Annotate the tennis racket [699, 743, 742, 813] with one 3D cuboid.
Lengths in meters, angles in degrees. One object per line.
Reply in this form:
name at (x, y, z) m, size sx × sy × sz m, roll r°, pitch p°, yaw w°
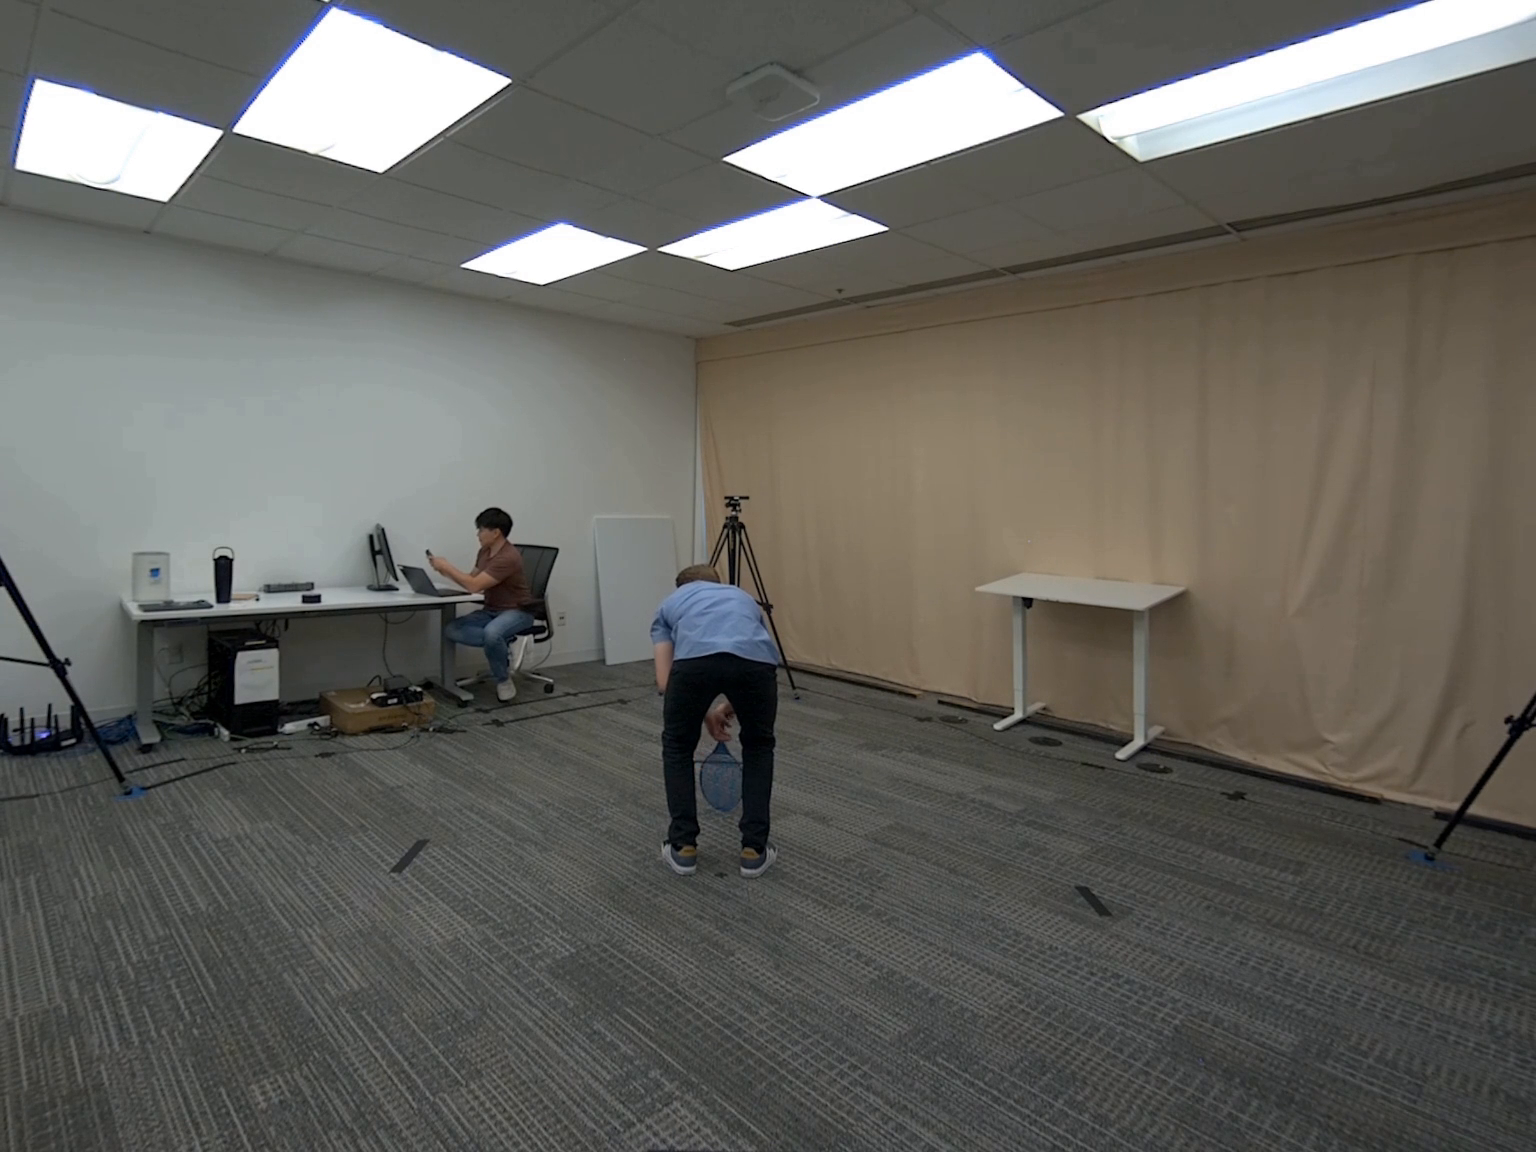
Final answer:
tennis racket at (-0.213, 0.836, 3.745) m, size 0.216 × 0.432 × 0.031 m, roll 0°, pitch 2°, yaw 17°
